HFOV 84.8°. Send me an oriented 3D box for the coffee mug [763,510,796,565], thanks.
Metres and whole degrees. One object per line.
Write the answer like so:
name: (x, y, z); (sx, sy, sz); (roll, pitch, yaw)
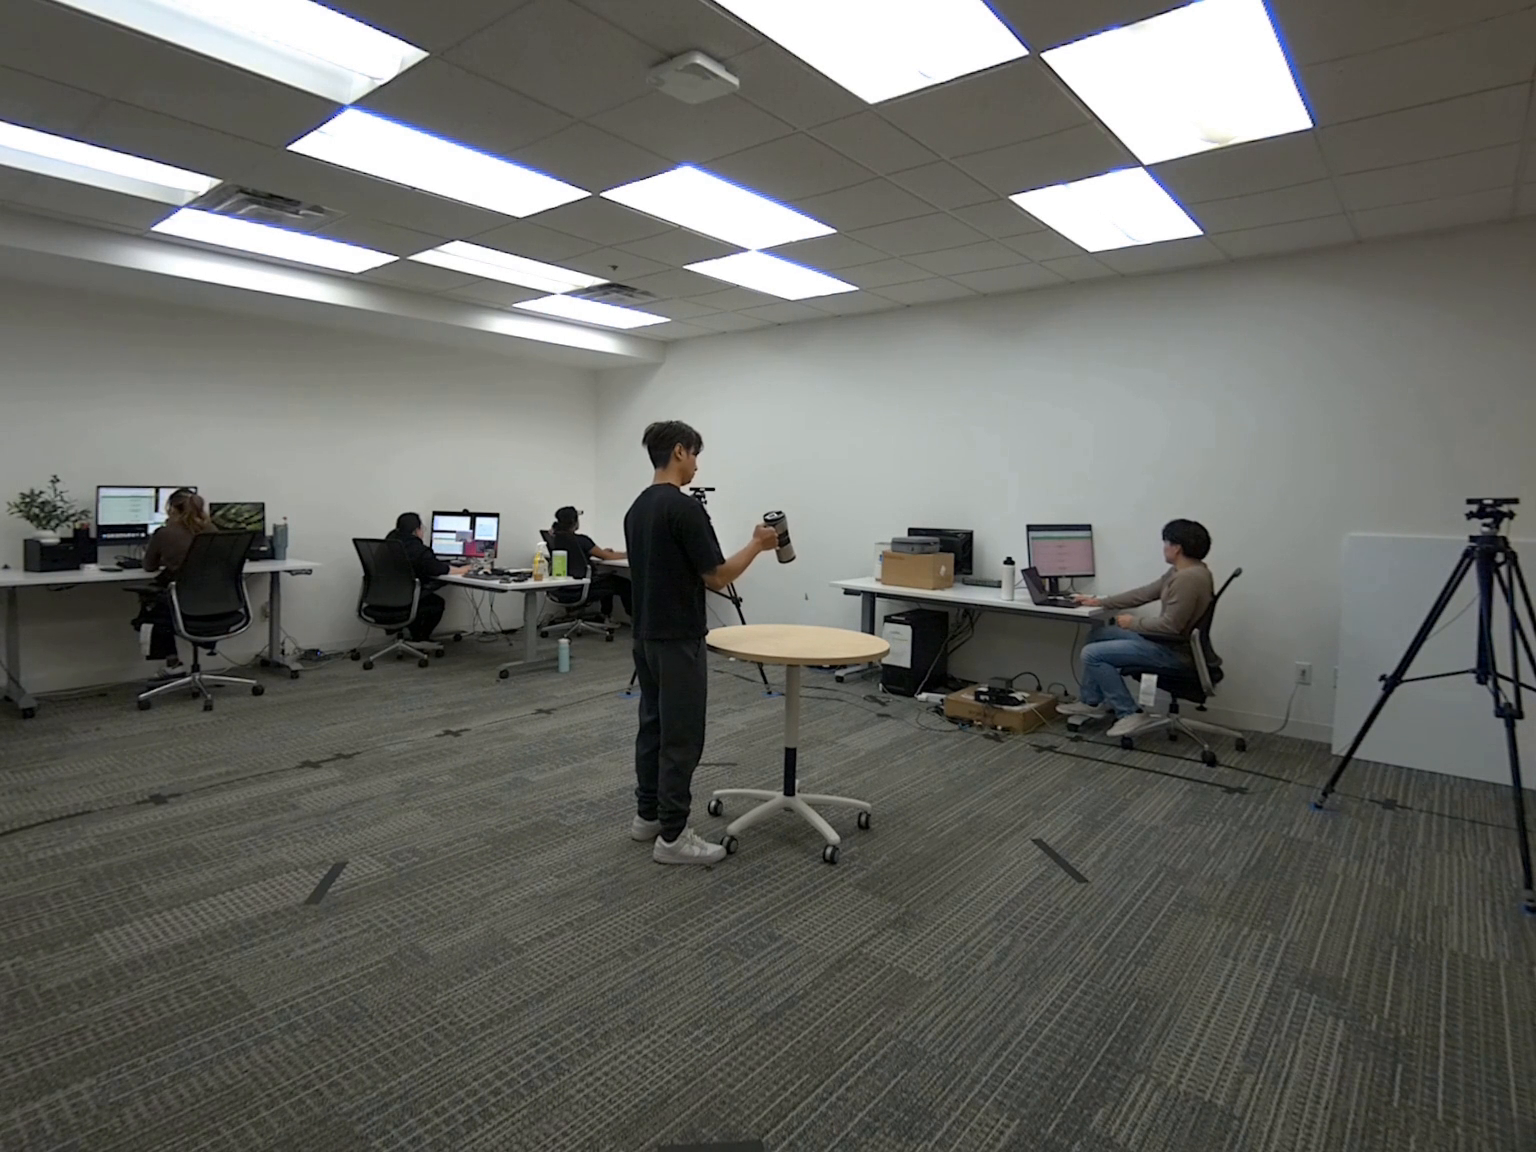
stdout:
coffee mug: (0.022, -0.141, 3.334); (0.120, 0.198, 0.091); (-25, 23, -23)
